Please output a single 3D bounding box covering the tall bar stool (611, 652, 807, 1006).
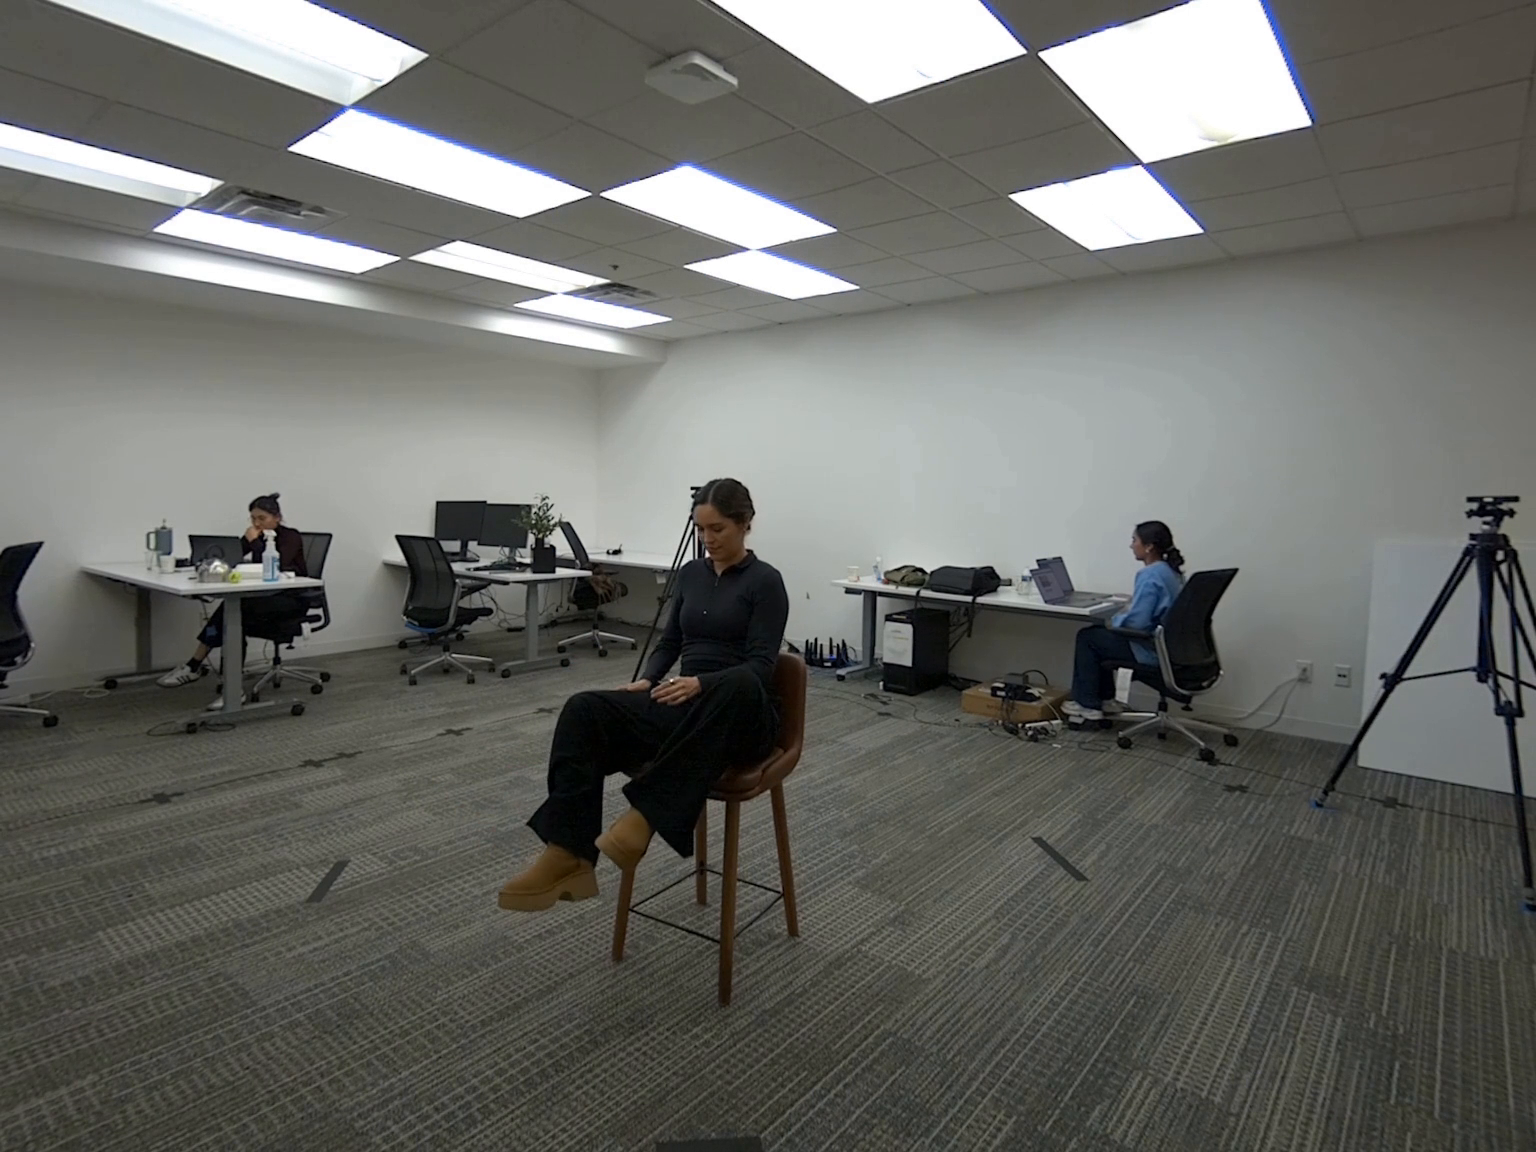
[{"bbox_3d":[-0.169,0.689,2.556,0.470,0.888,0.454,4,3,32],"label":"tall bar stool"}]
